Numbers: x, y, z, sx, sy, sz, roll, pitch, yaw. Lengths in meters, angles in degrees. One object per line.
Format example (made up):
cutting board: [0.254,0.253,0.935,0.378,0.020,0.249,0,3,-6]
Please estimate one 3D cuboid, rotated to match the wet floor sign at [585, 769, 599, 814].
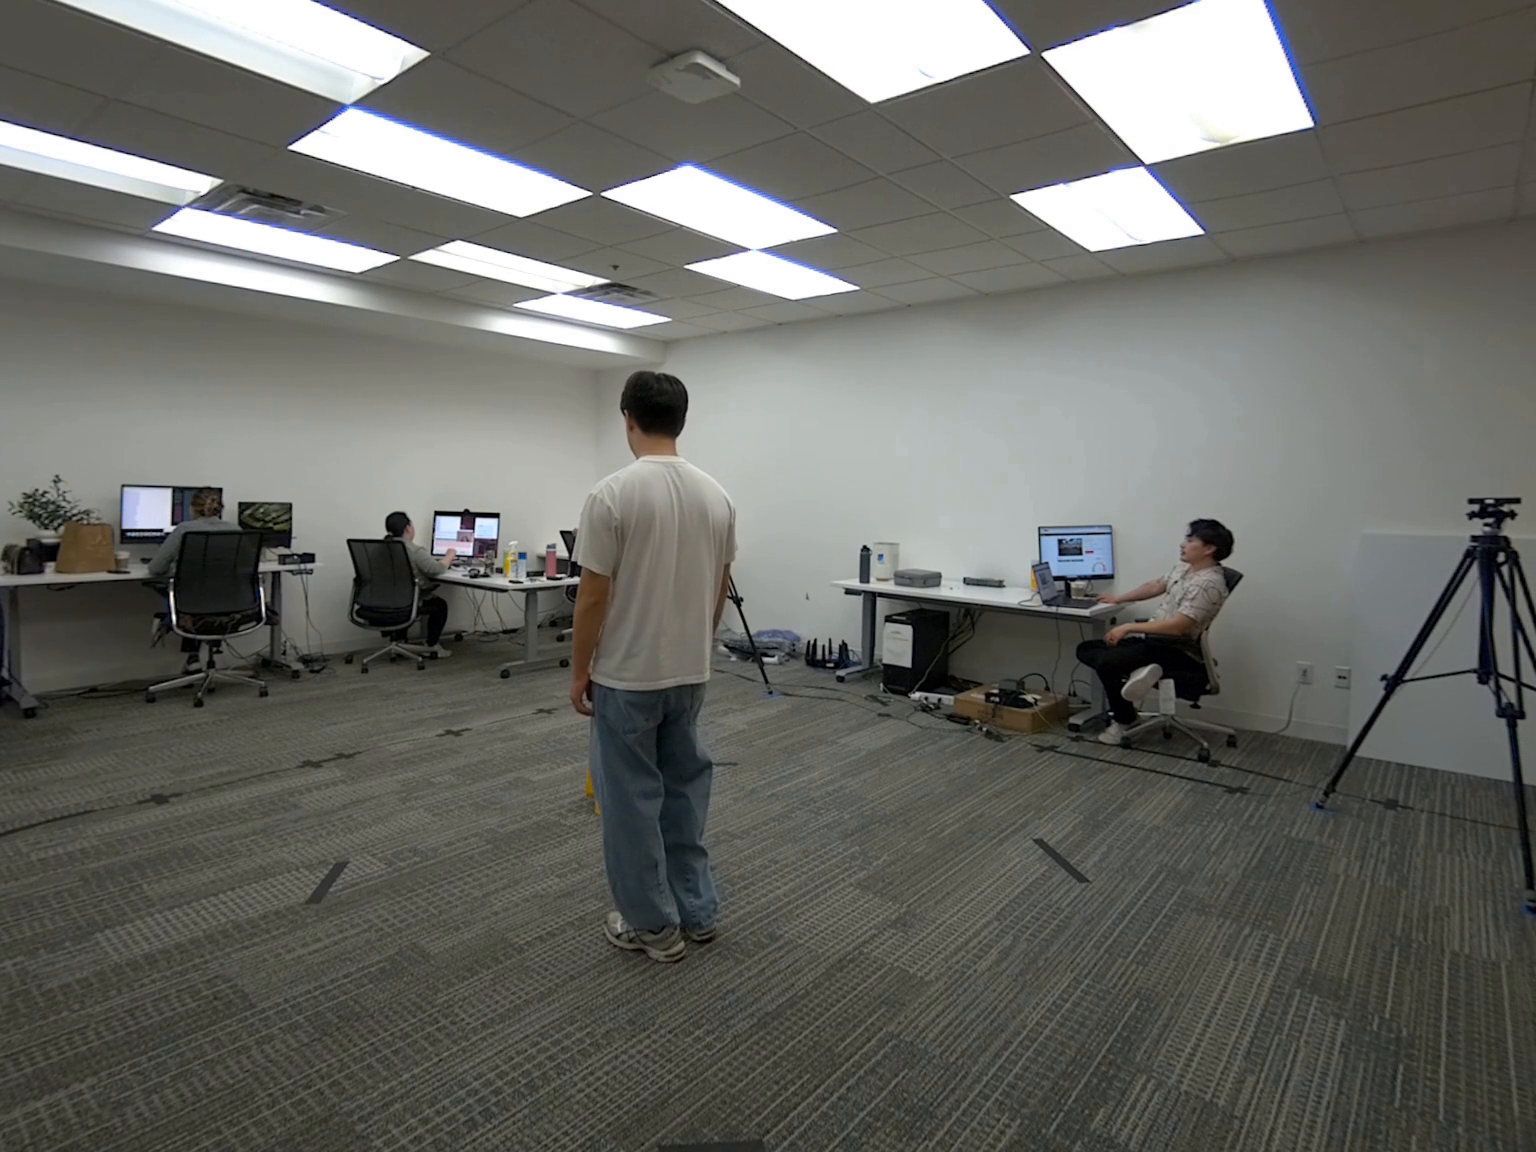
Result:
wet floor sign: [-0.636,0.675,3.753,0.277,0.644,0.296,1,3,-19]
